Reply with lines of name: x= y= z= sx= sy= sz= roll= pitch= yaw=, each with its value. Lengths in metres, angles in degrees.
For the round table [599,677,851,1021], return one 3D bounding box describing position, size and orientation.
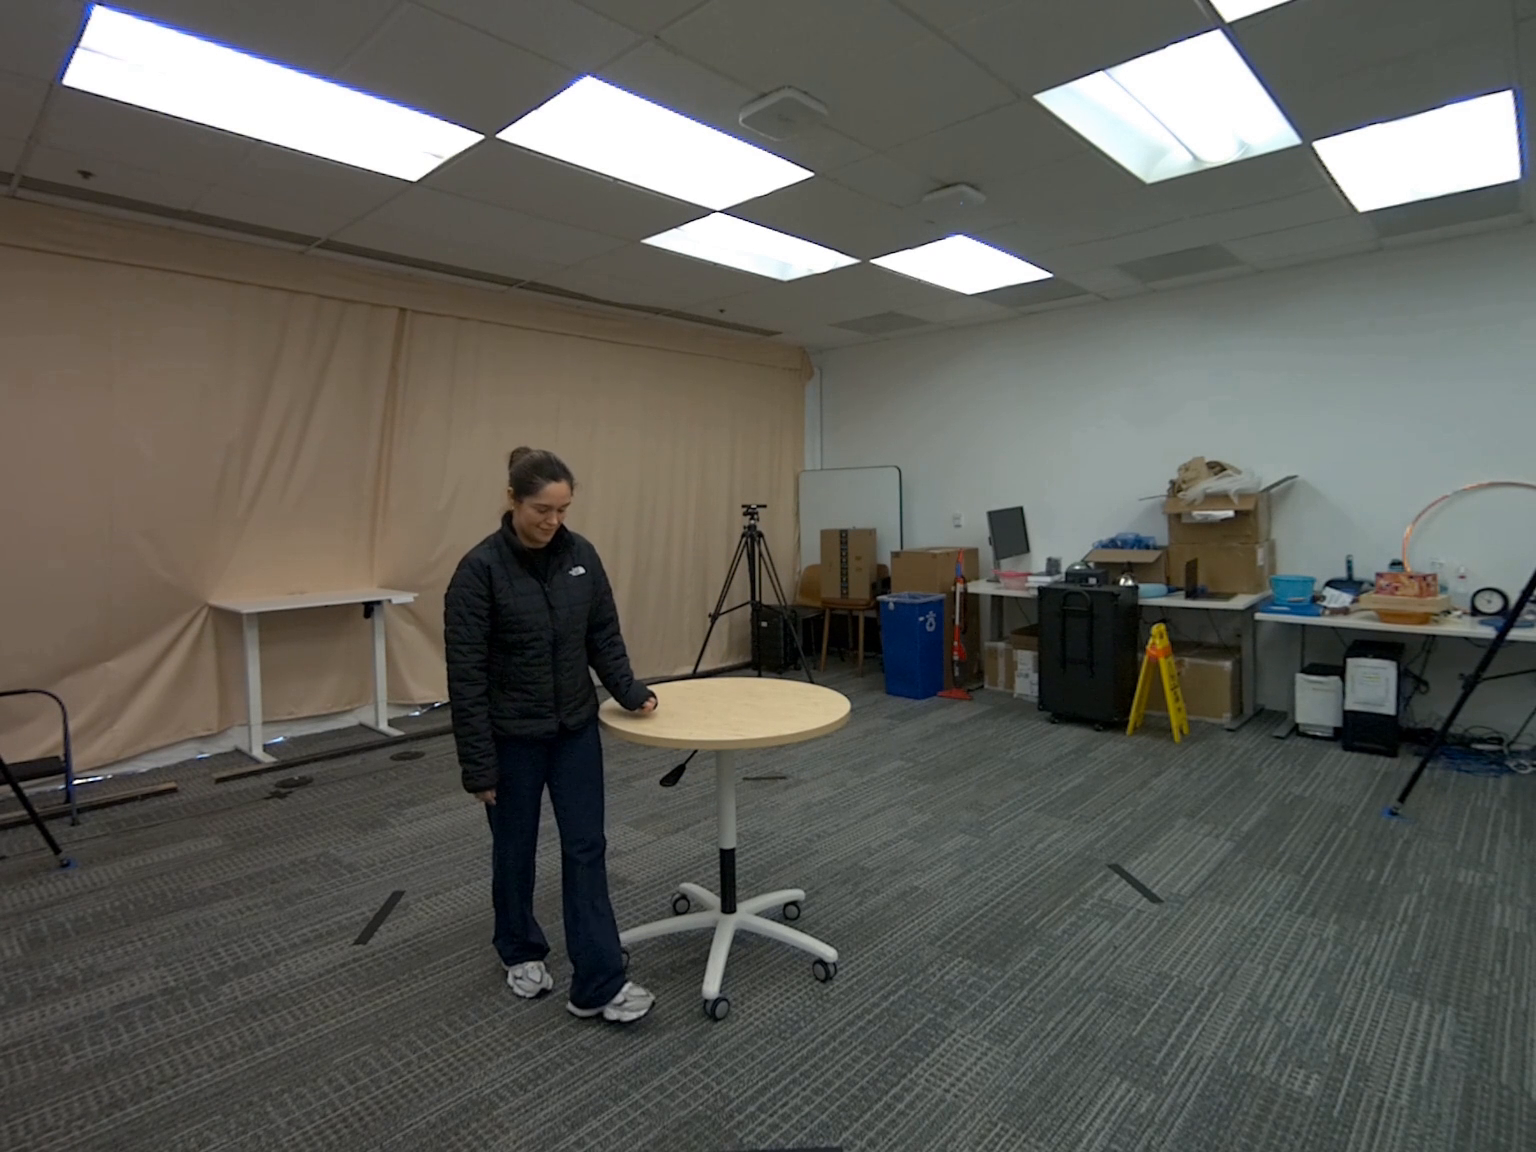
round table: x=-0.094 y=0.780 z=2.595 sx=0.784 sy=0.784 sz=0.788 roll=-2 pitch=4 yaw=-2
